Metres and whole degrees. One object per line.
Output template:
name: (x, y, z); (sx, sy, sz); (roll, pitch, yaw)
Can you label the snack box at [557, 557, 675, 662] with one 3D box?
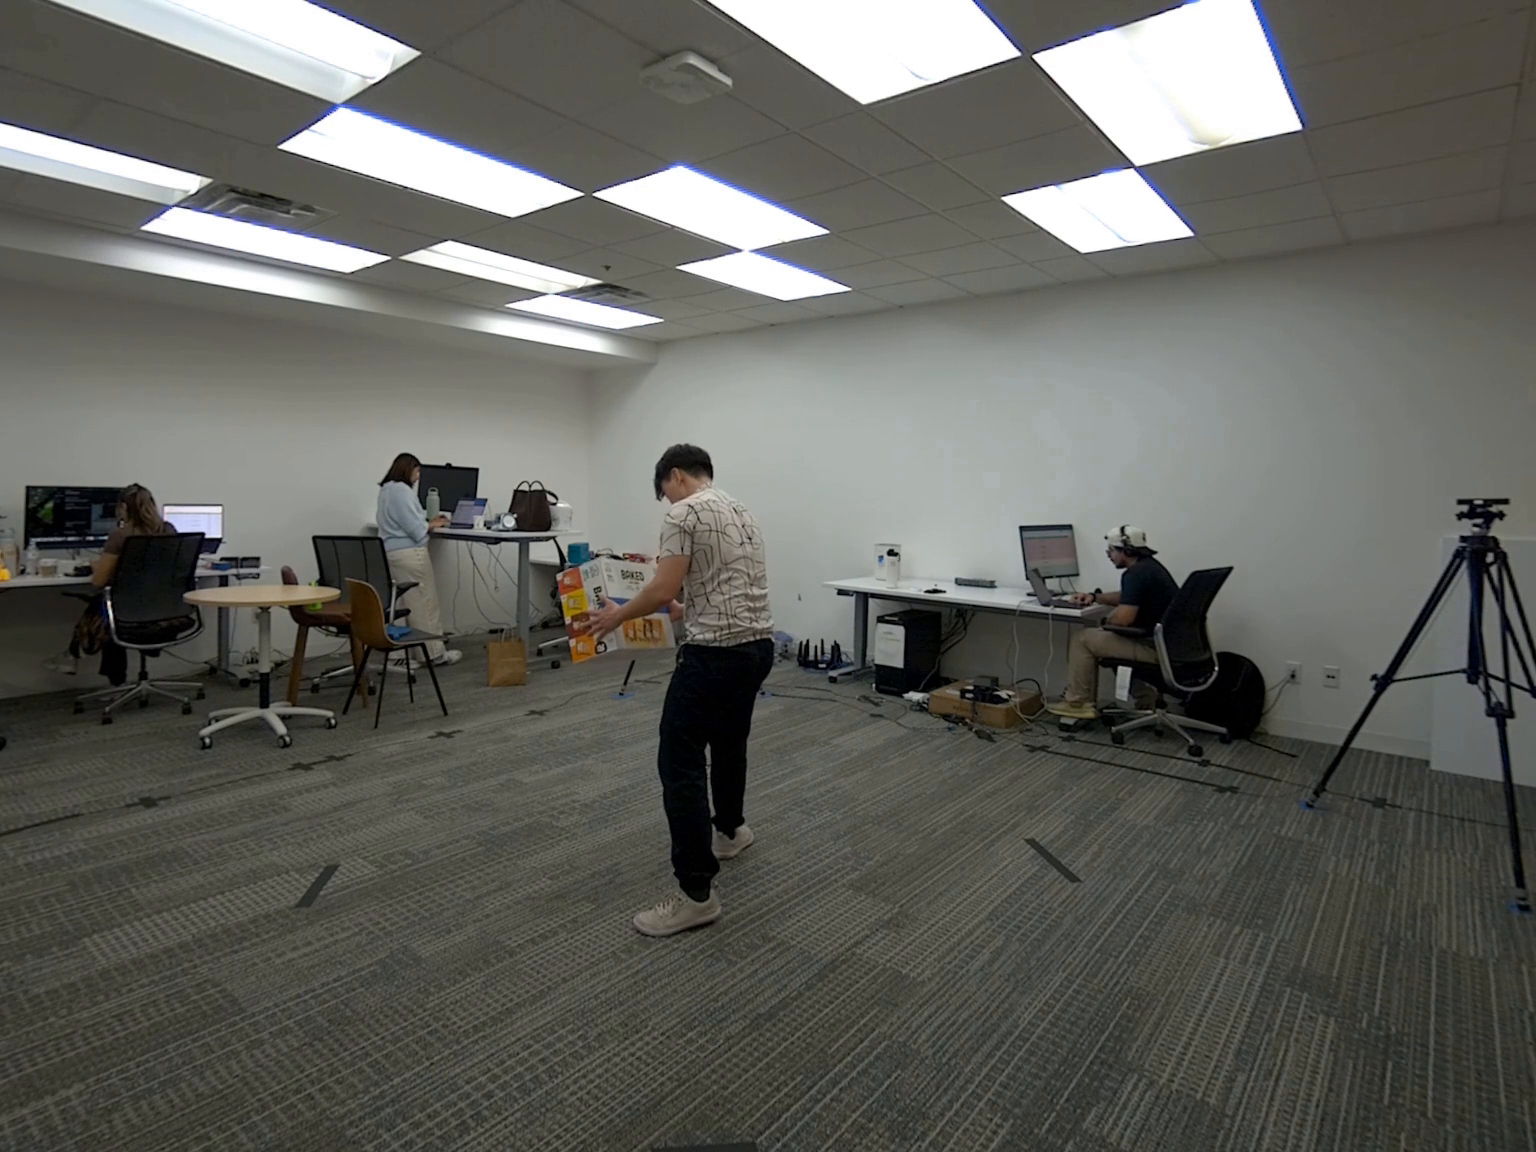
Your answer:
snack box: (-0.584, 0.134, 3.247); (0.209, 0.346, 0.393); (-20, -14, 24)
